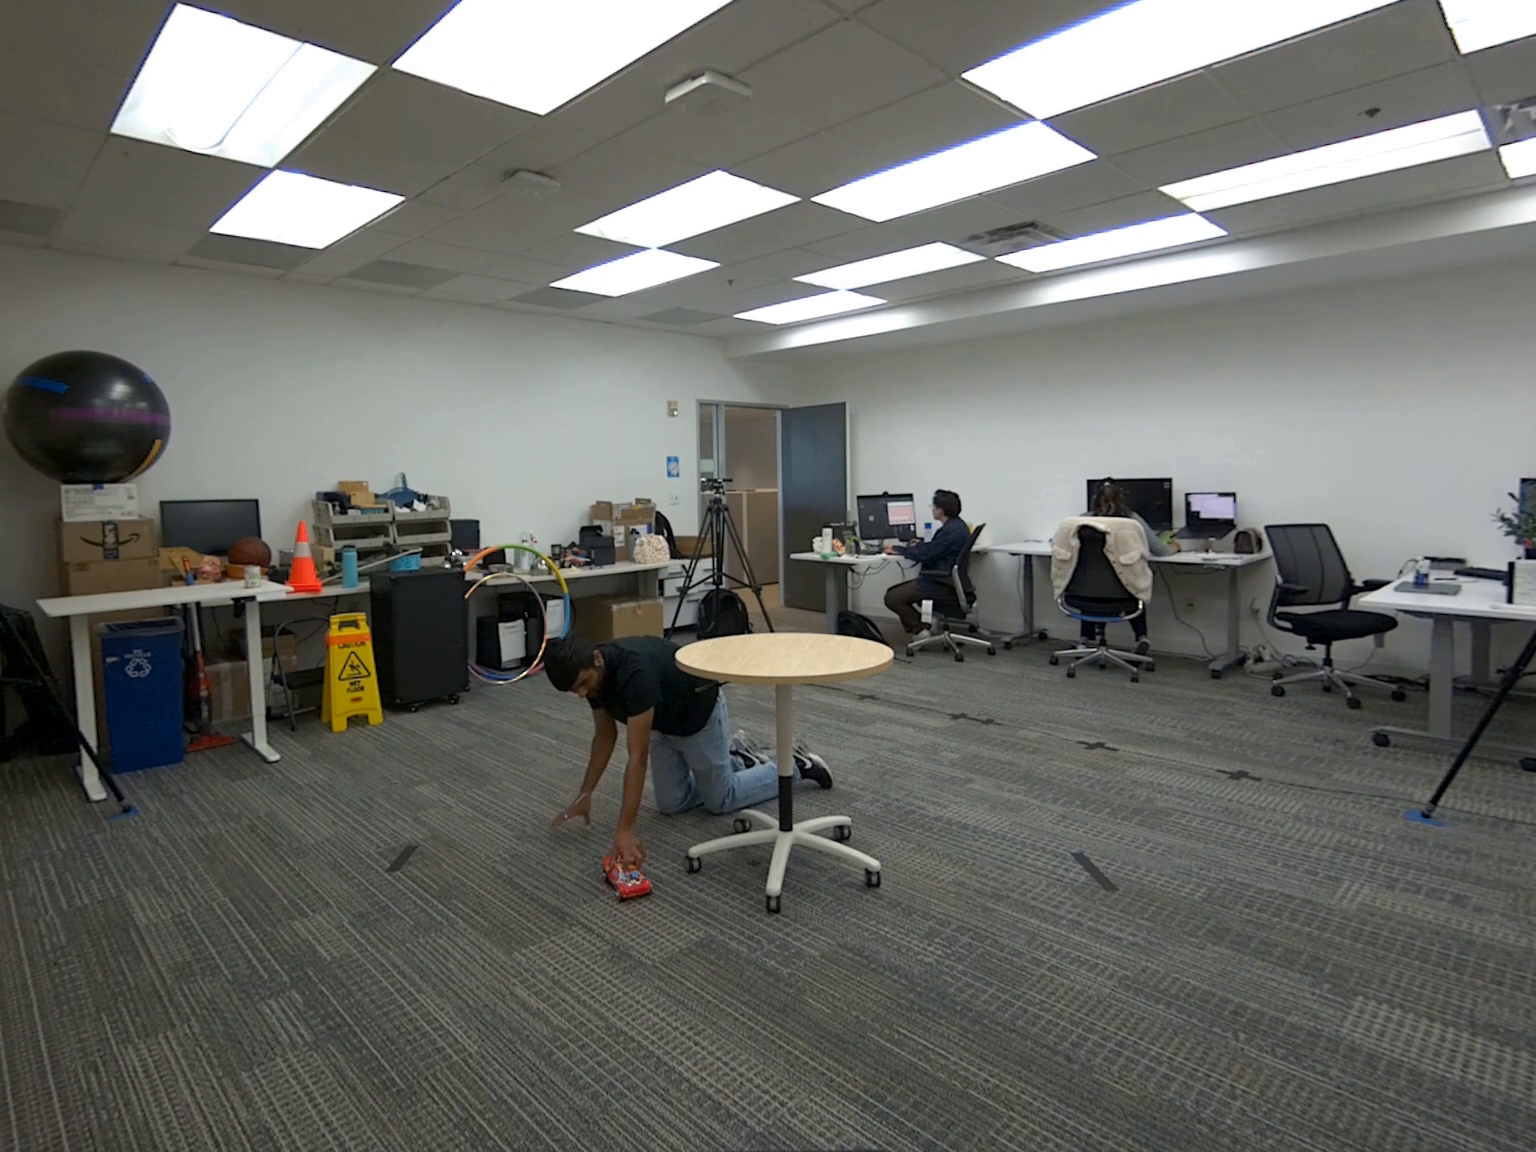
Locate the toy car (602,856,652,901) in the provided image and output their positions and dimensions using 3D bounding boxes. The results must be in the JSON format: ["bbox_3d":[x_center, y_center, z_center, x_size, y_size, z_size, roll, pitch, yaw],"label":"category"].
[{"bbox_3d":[-0.508,1.046,2.953,0.127,0.082,0.263,-6,16,-26],"label":"toy car"}]
